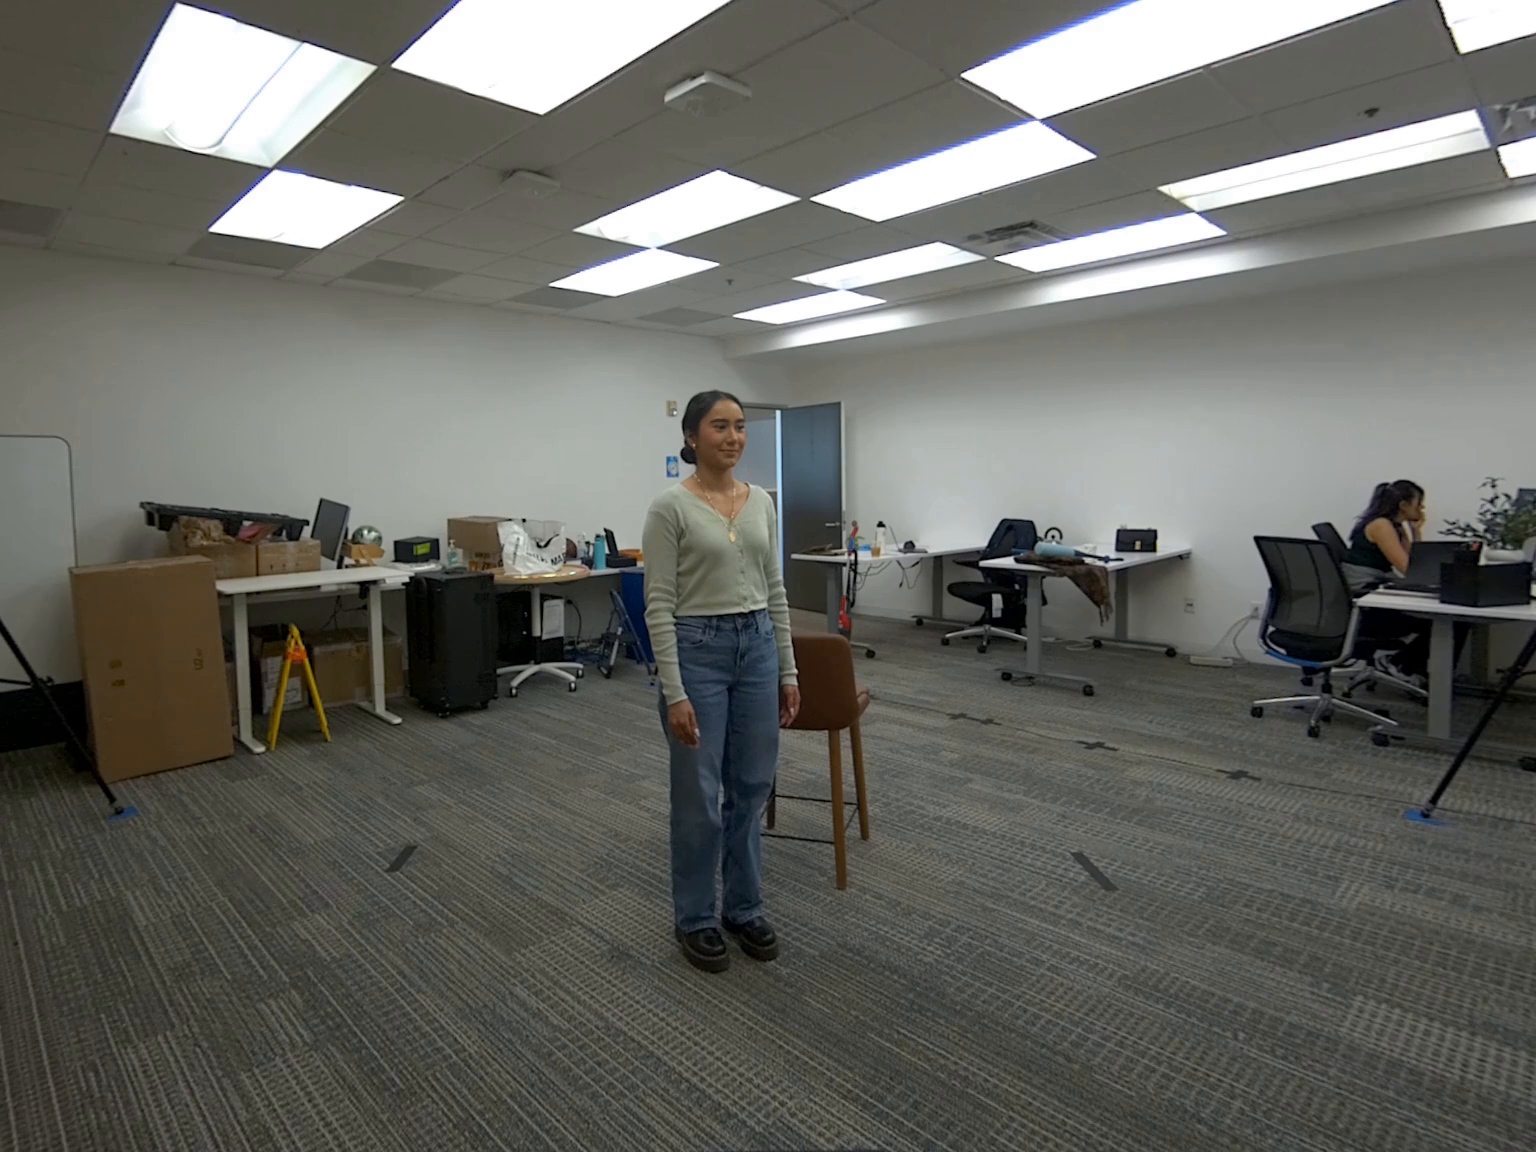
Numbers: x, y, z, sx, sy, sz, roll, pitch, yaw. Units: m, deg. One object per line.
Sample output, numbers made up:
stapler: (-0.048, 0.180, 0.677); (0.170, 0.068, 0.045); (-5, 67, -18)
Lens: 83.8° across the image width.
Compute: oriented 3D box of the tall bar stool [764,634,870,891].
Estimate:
tall bar stool: (0.133, 0.600, 3.124); (0.465, 0.885, 0.462); (0, 7, 18)
